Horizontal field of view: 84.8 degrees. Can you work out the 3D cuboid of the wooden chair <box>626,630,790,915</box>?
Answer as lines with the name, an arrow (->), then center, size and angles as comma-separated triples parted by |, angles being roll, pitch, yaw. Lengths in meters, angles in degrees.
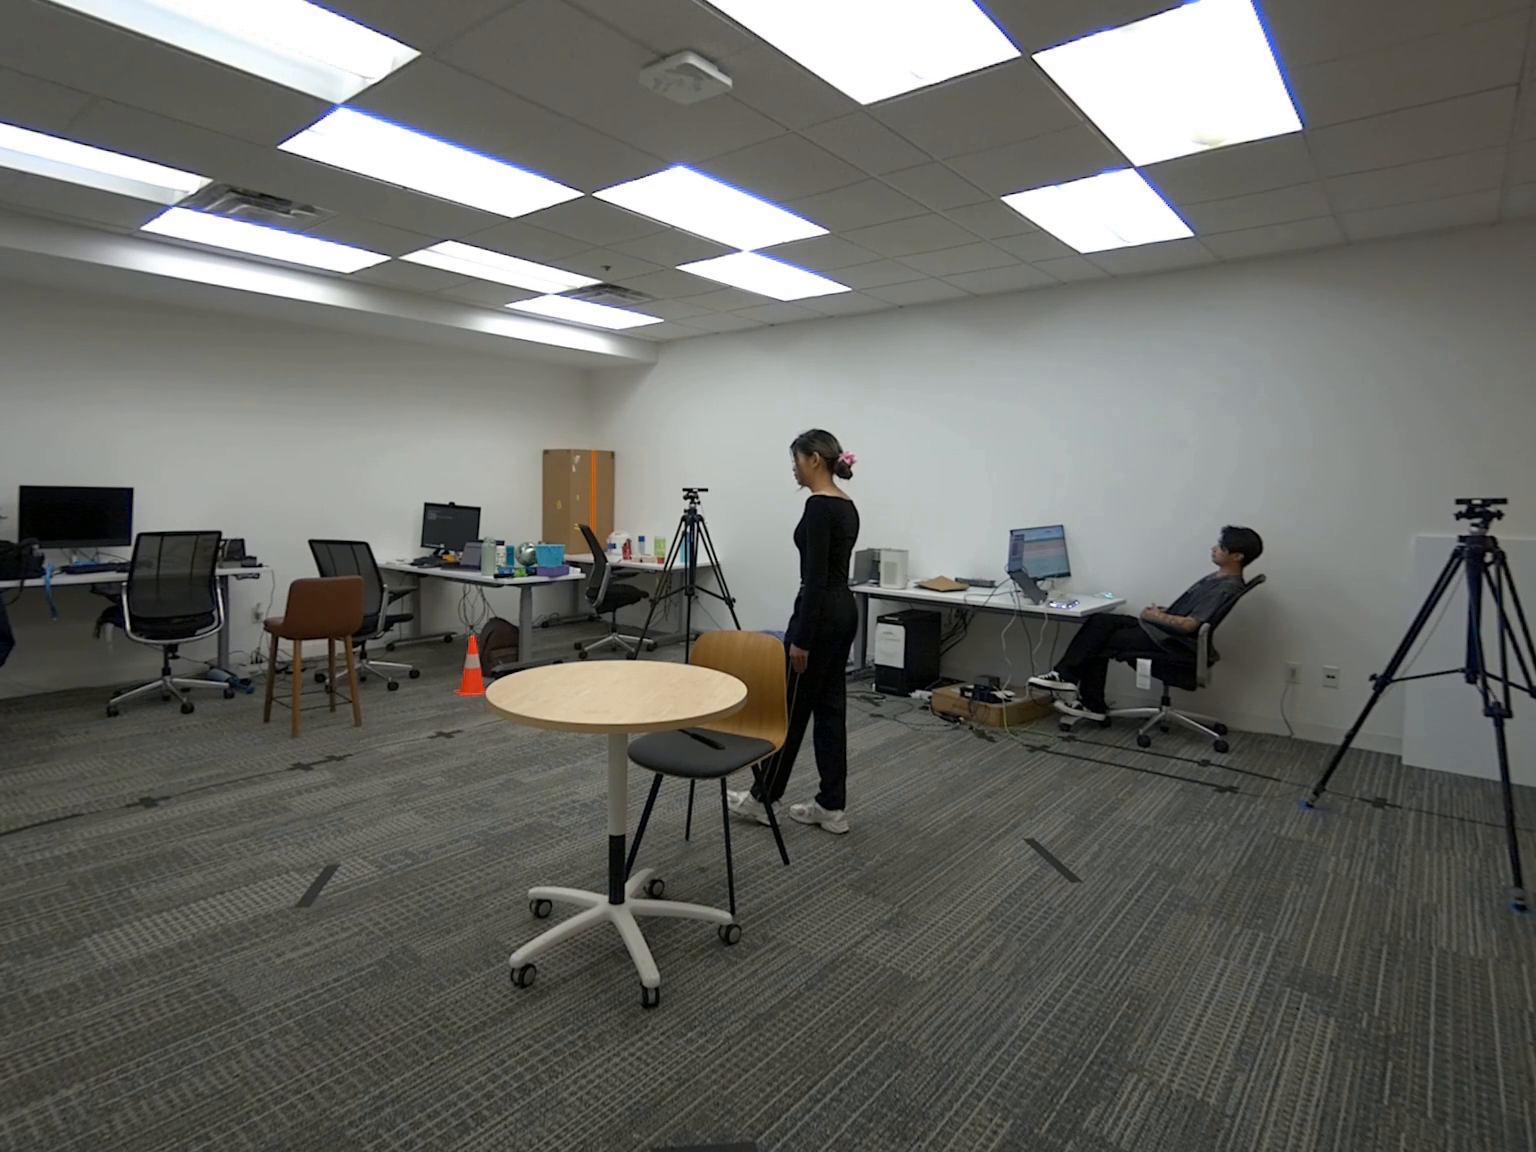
wooden chair -> -0.223, 0.647, 3.043 | 0.491, 0.878, 0.508 | 3, -1, 28
